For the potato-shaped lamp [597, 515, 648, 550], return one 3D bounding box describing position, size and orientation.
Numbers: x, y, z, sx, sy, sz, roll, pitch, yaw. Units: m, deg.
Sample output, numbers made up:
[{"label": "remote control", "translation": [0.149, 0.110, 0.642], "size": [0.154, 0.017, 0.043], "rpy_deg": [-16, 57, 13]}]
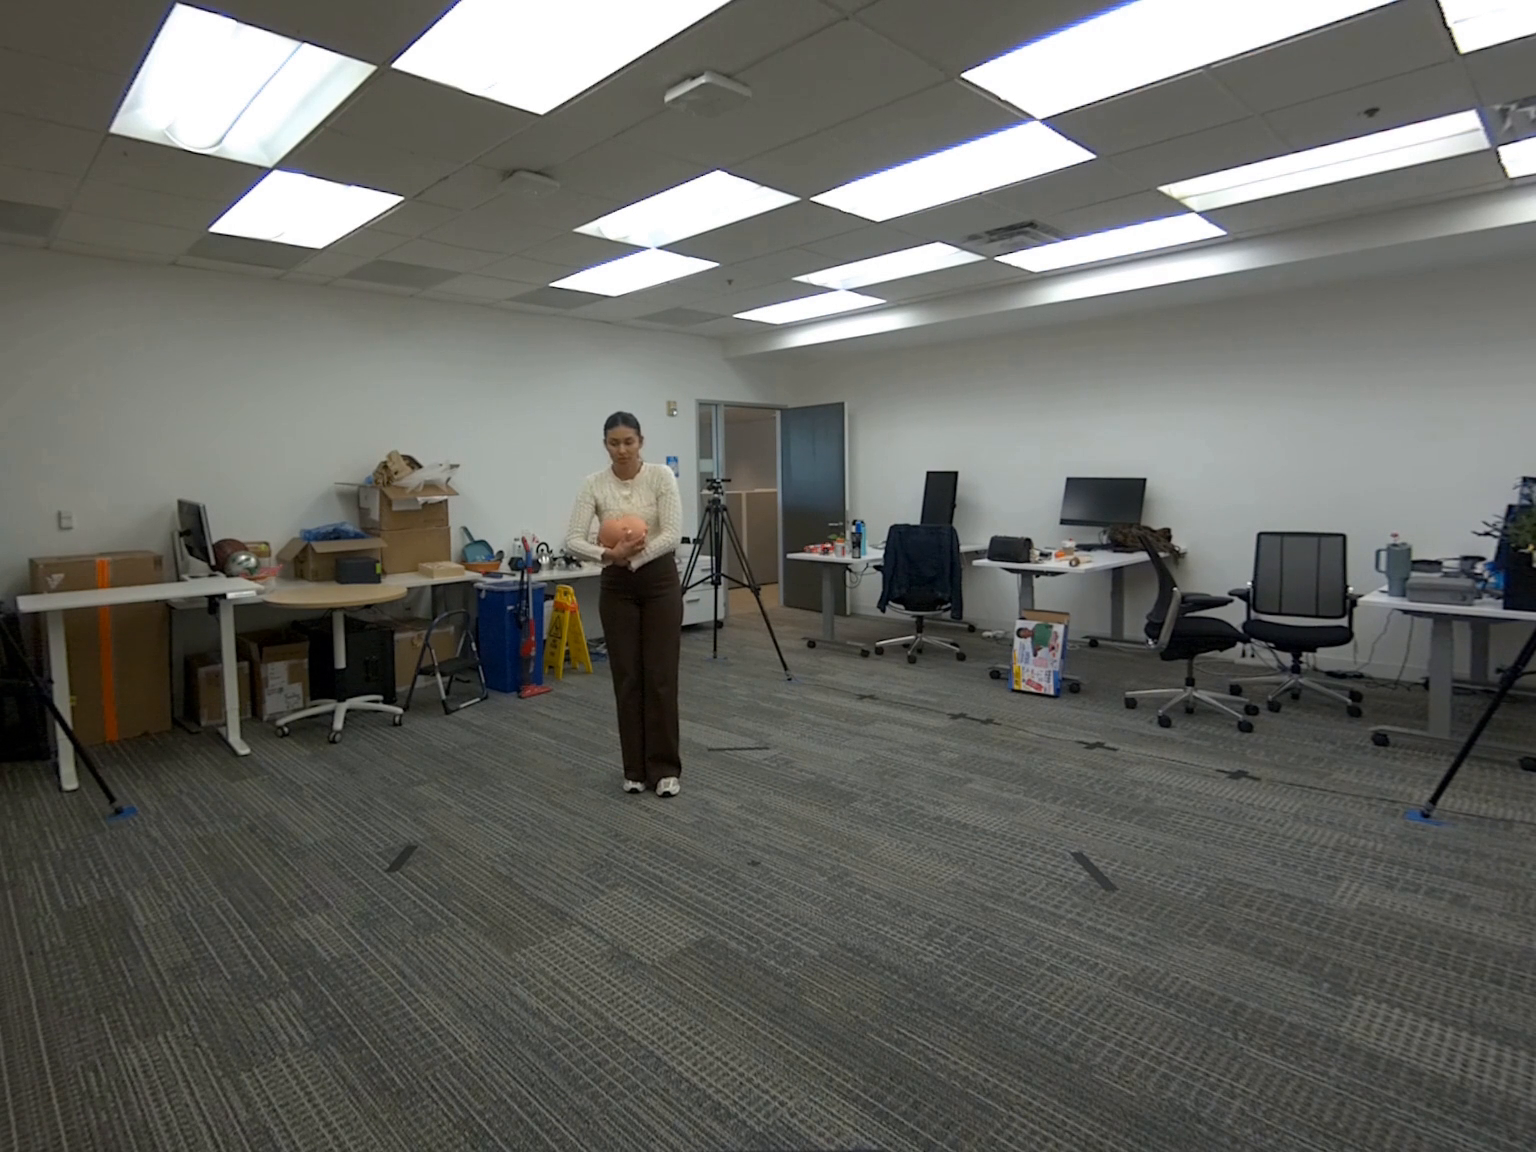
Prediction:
[{"label": "potato-shaped lamp", "translation": [-0.645, -0.186, 3.712], "size": [0.193, 0.170, 0.170], "rpy_deg": [19, 17, -22]}]
